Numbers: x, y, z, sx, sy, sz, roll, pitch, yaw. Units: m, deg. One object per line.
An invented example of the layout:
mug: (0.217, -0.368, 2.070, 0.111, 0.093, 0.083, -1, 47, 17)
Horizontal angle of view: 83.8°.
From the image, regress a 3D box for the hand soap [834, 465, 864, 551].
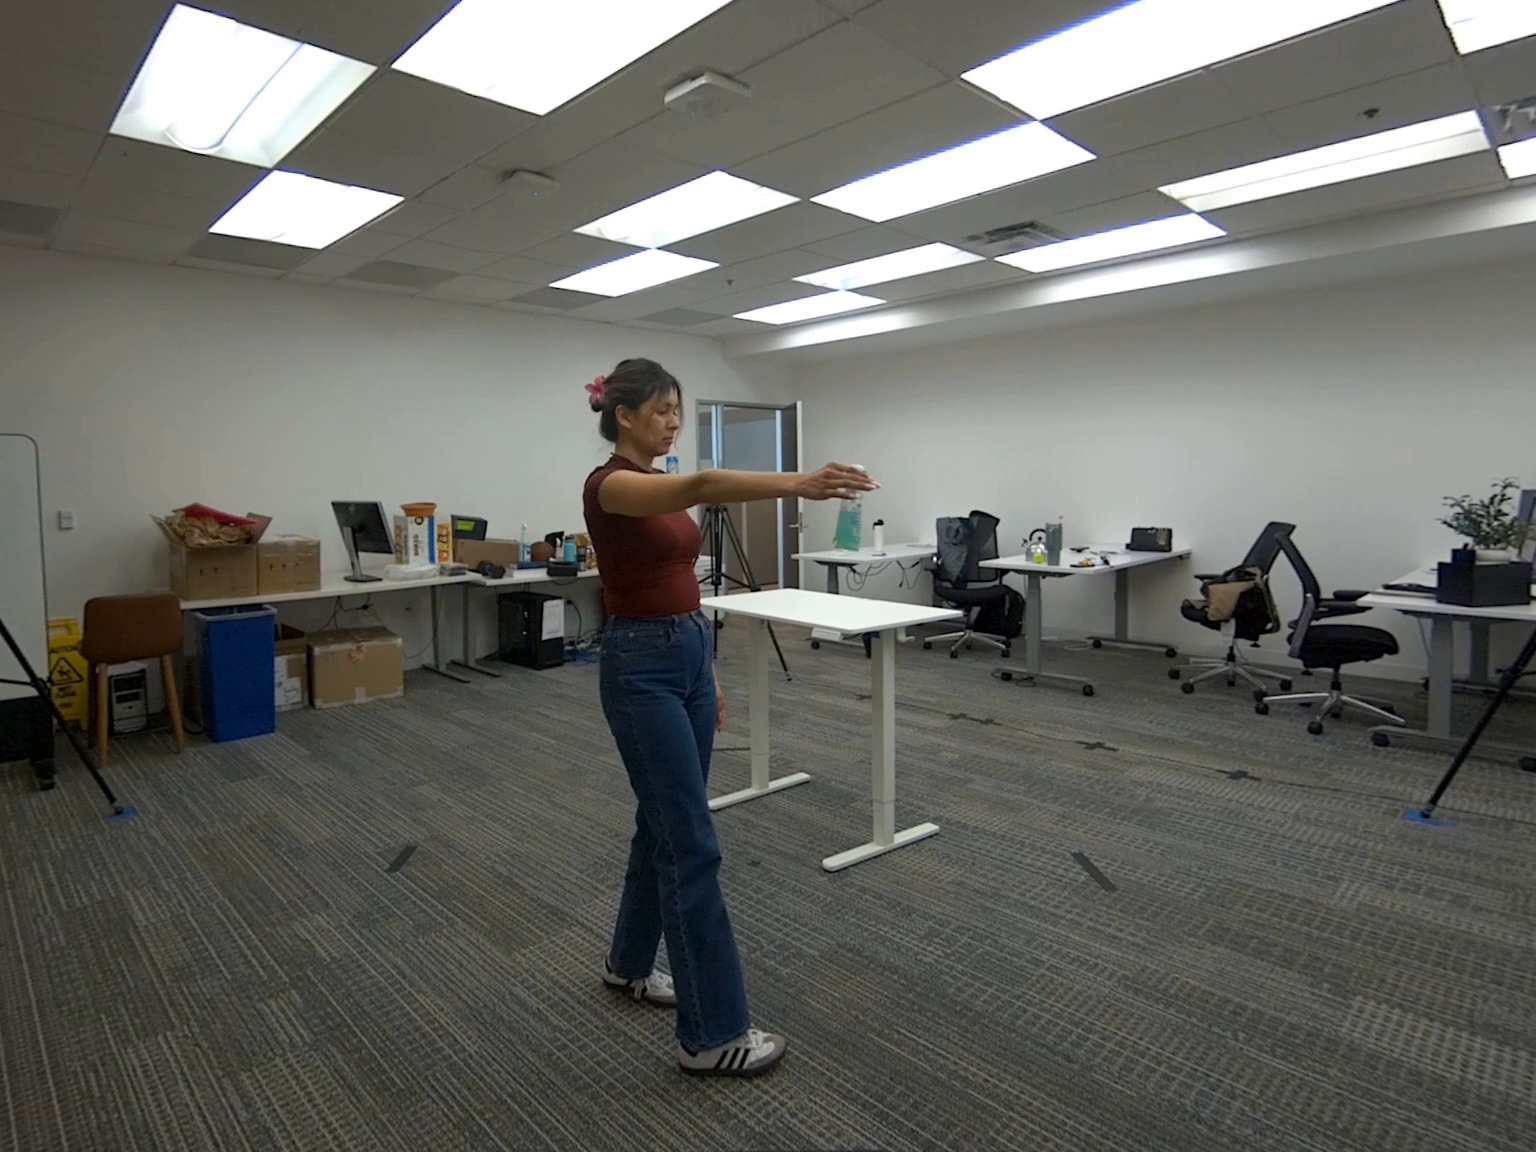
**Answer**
hand soap: (0.168, -0.133, 1.662, 0.044, 0.169, 0.082, 4, -5, 20)
